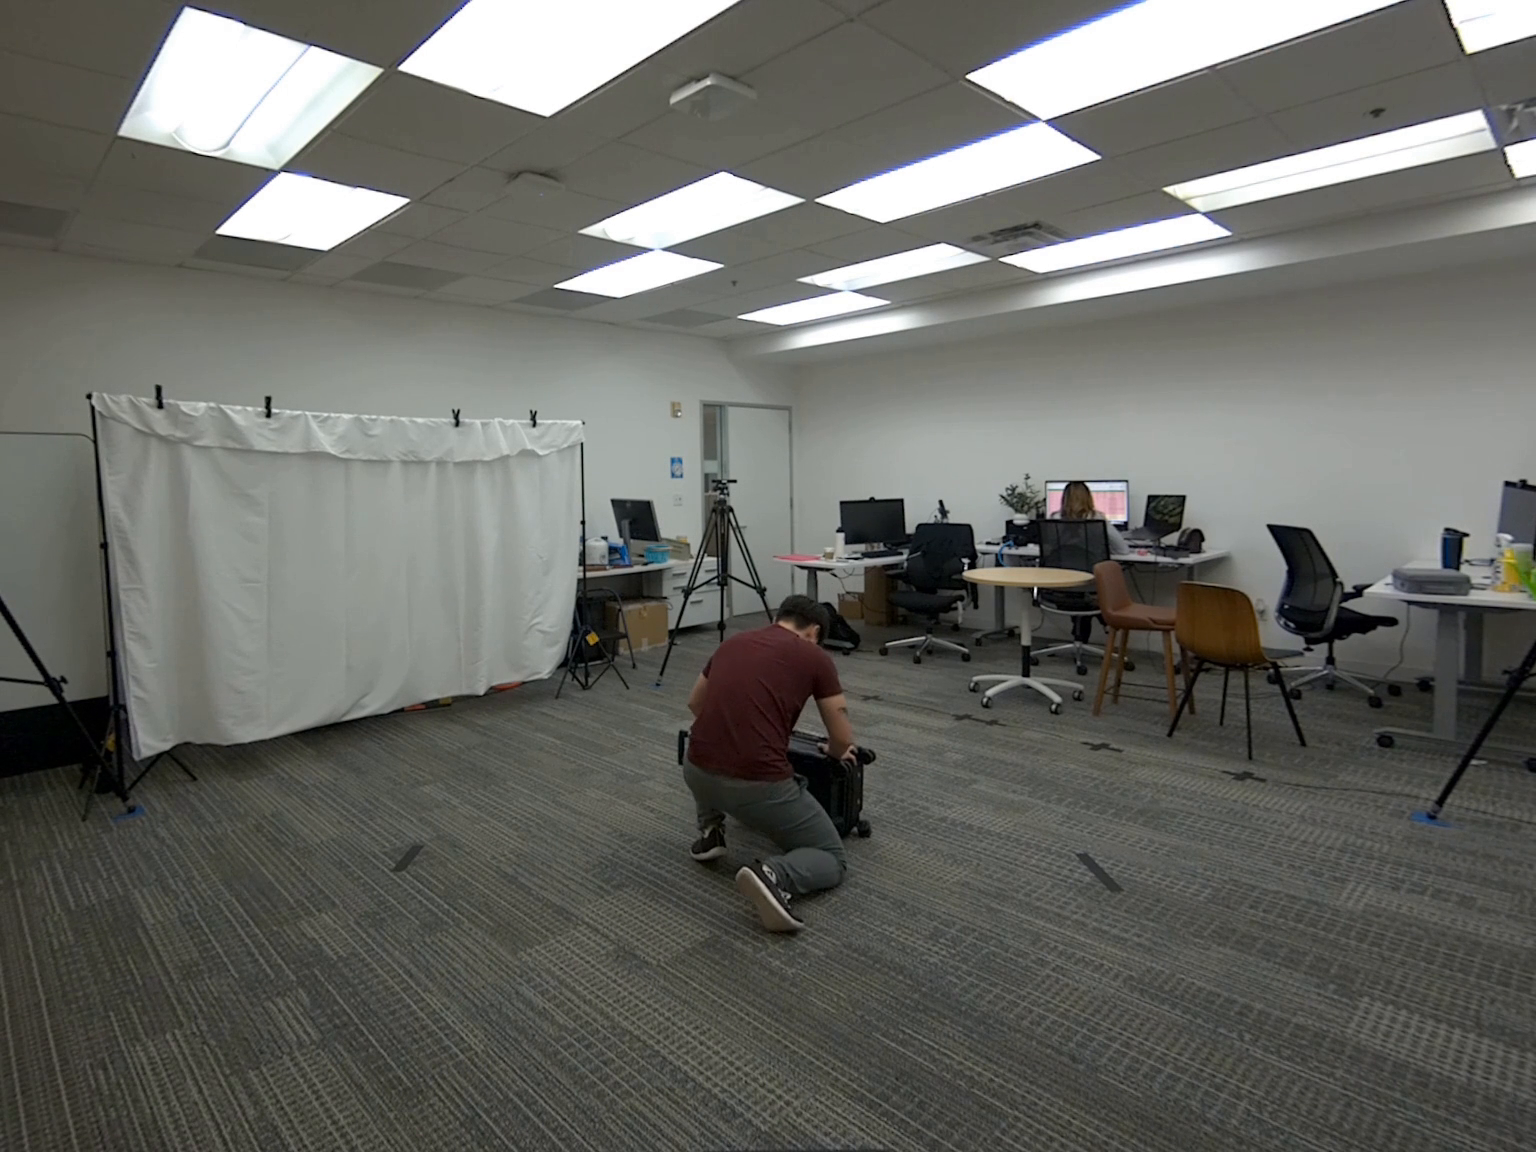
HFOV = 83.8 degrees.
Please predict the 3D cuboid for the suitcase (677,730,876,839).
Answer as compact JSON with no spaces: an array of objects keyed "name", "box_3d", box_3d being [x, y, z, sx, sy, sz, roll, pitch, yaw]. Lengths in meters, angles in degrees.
[{"name":"suitcase","box_3d":[-0.044,0.810,3.546,1.007,0.383,0.250,4,4,35]}]
